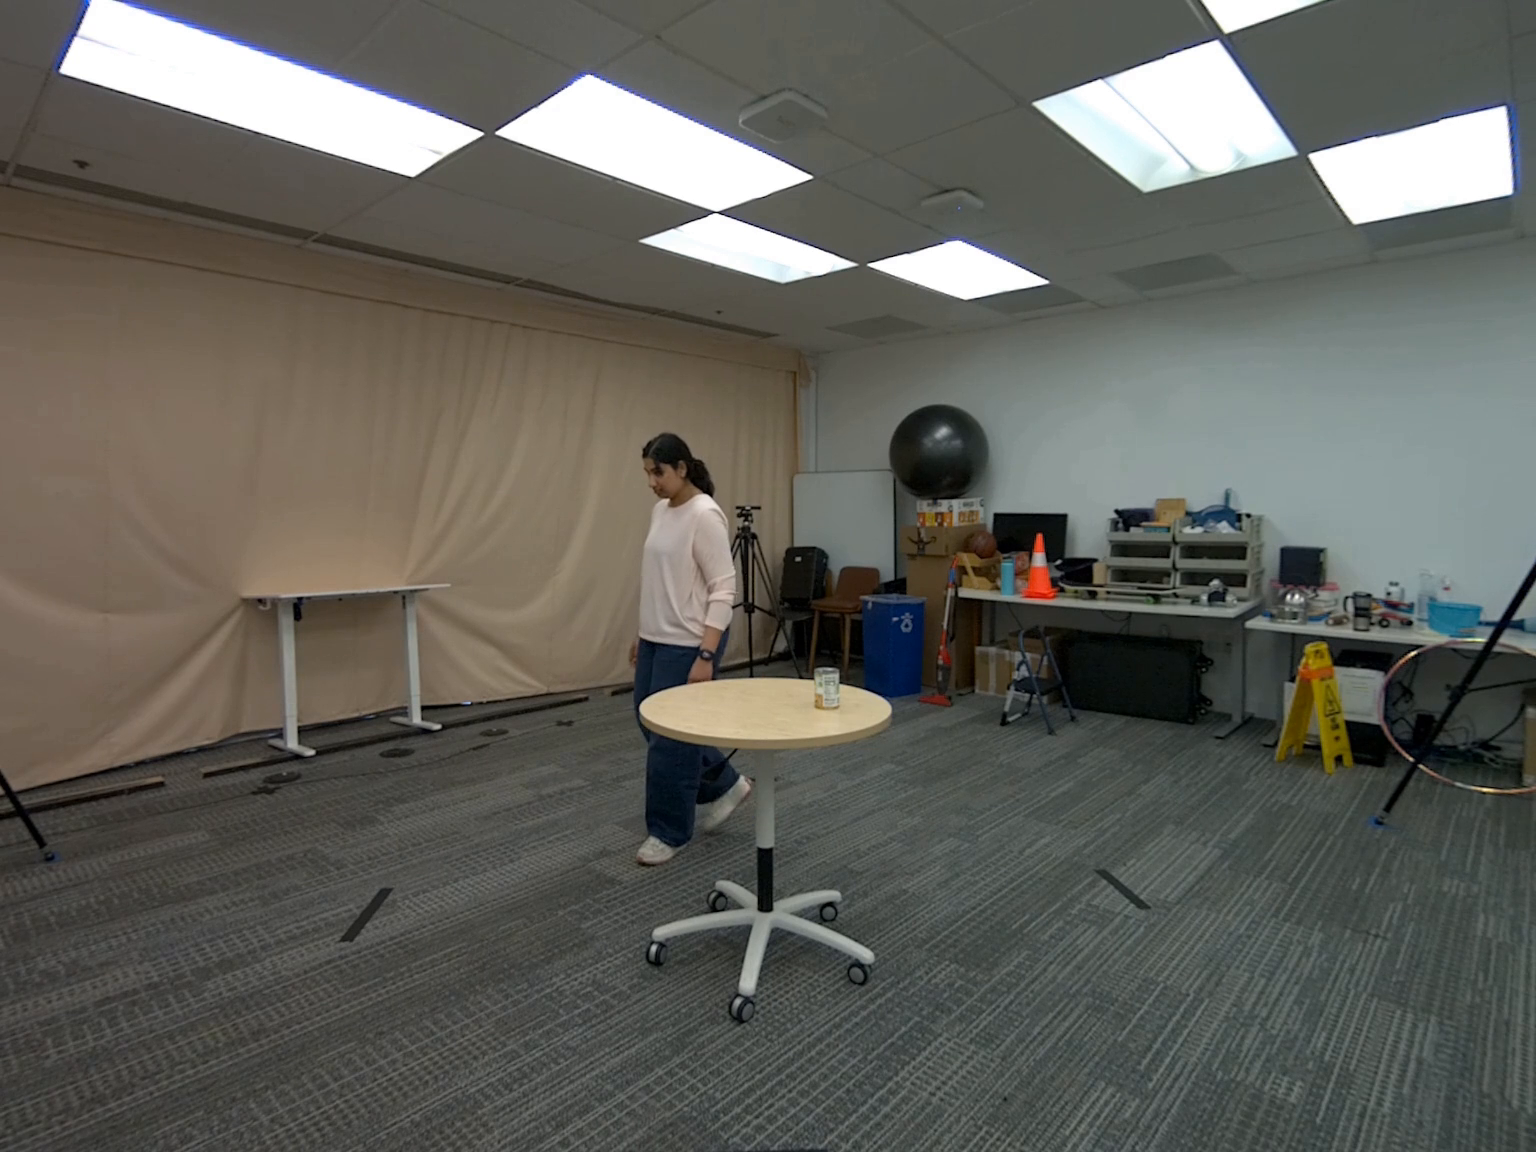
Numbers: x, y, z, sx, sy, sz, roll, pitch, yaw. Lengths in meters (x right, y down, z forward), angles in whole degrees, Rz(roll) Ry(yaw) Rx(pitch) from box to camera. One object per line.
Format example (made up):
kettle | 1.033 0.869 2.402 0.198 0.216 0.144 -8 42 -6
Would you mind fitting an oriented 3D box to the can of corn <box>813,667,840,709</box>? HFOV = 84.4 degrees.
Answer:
can of corn | 0.187 0.342 2.536 0.074 0.110 0.074 -2 5 -2
